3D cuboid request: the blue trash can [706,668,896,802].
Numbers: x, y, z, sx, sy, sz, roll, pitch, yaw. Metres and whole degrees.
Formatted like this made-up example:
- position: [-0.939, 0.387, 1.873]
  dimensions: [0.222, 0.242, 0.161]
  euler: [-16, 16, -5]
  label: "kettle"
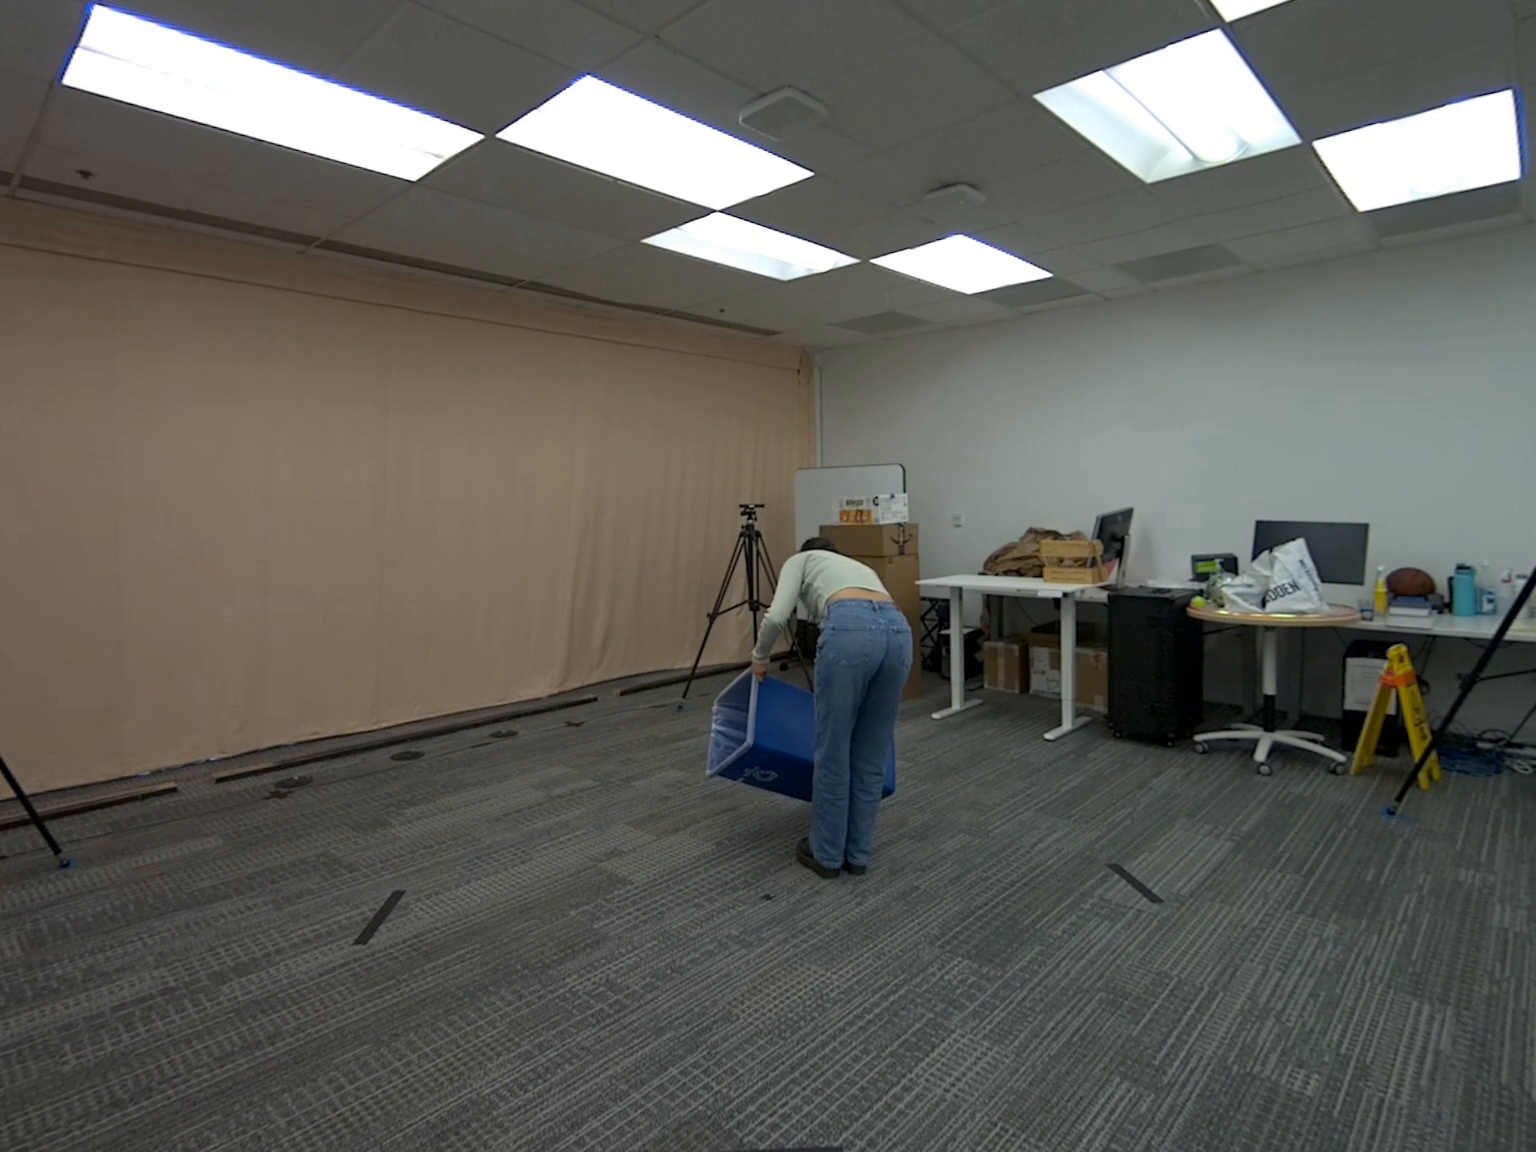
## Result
- position: [0.153, 0.704, 3.537]
  dimensions: [0.698, 0.384, 0.376]
  euler: [22, -42, -19]
  label: "blue trash can"
